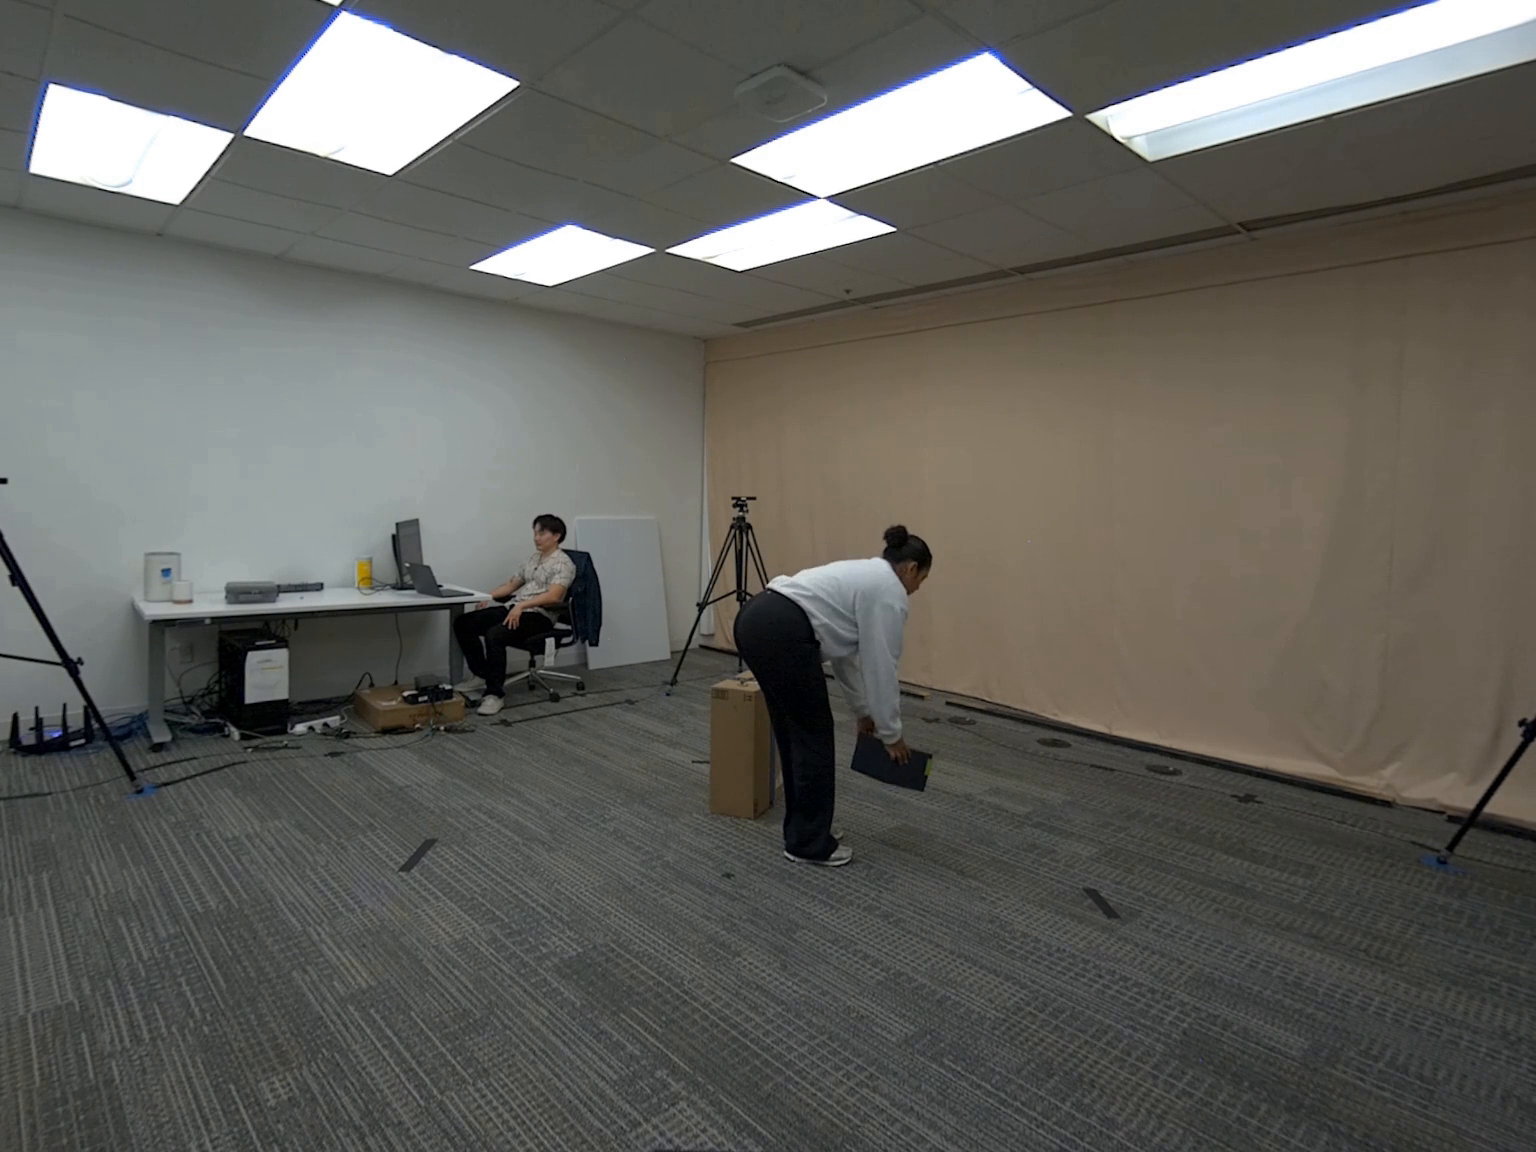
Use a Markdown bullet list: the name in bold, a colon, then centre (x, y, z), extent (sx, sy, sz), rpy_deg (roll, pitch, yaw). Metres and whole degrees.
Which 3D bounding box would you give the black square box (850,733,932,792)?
- **black square box**: centre (0.494, 0.754, 3.456), extent (0.211, 0.156, 0.233), rpy_deg (21, -7, -35)
